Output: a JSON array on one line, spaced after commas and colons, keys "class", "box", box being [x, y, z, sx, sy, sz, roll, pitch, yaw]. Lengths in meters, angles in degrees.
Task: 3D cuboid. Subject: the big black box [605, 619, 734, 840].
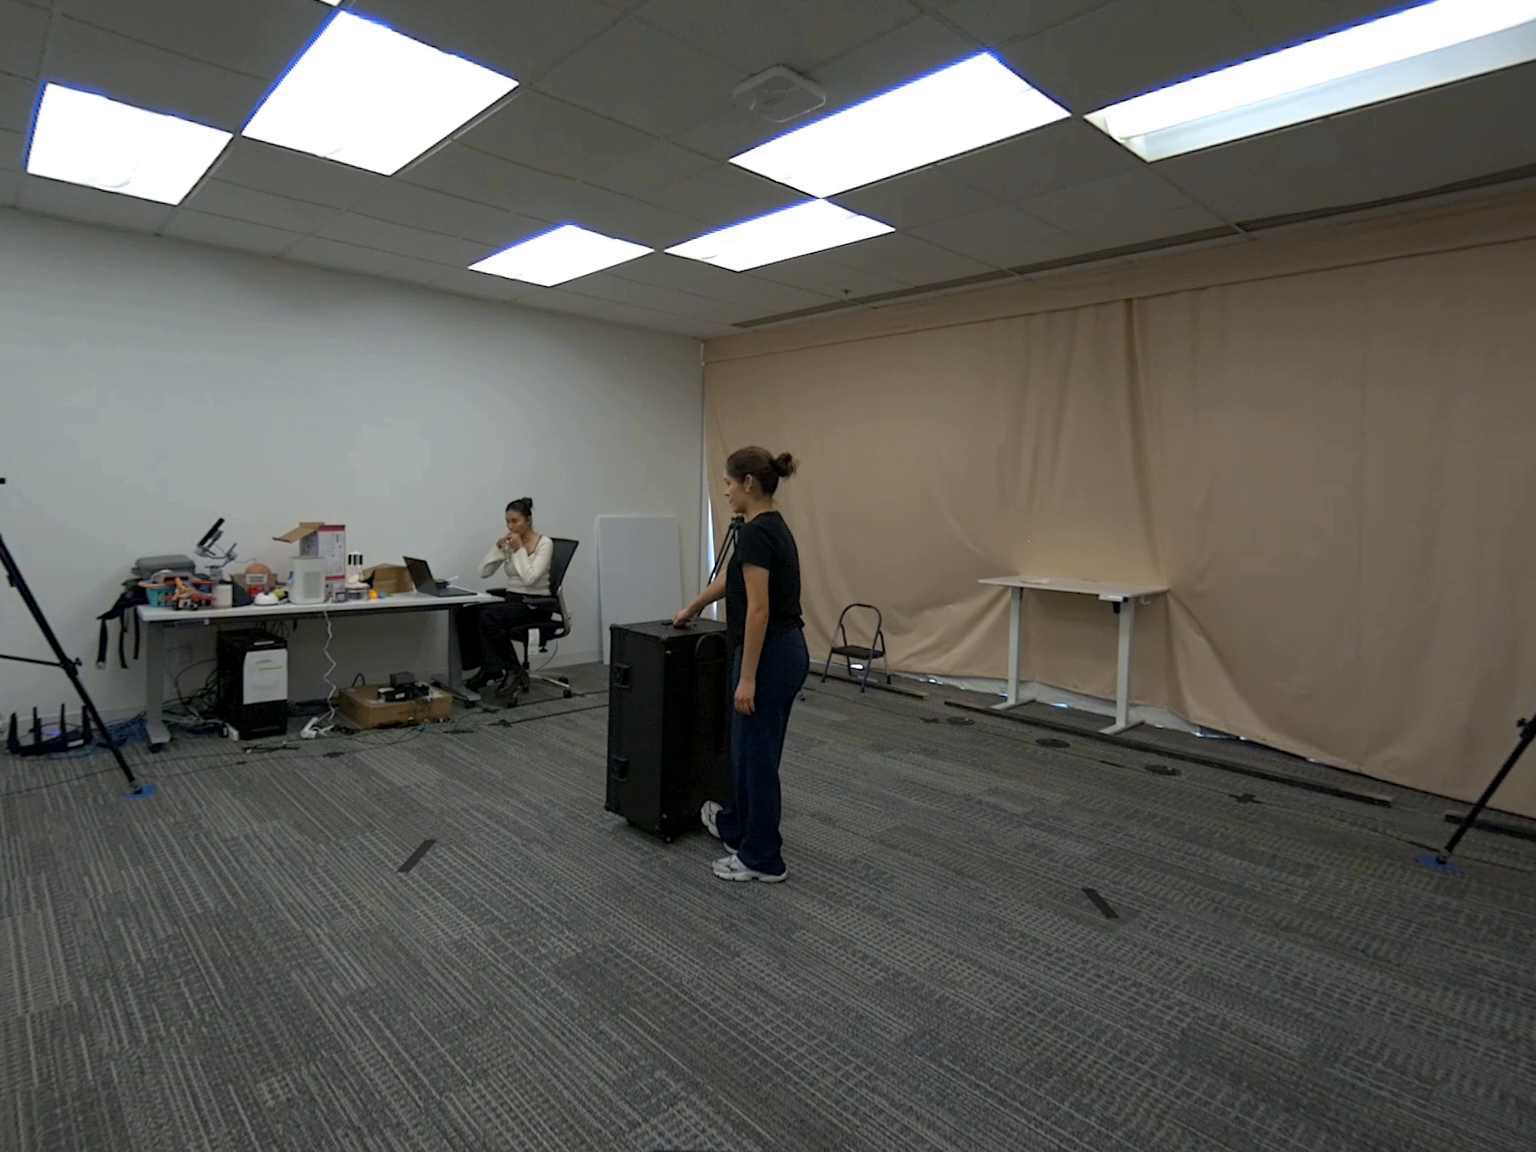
[{"class": "big black box", "box": [-0.375, 0.633, 3.551, 0.407, 0.859, 0.509, 7, 6, 44]}]
